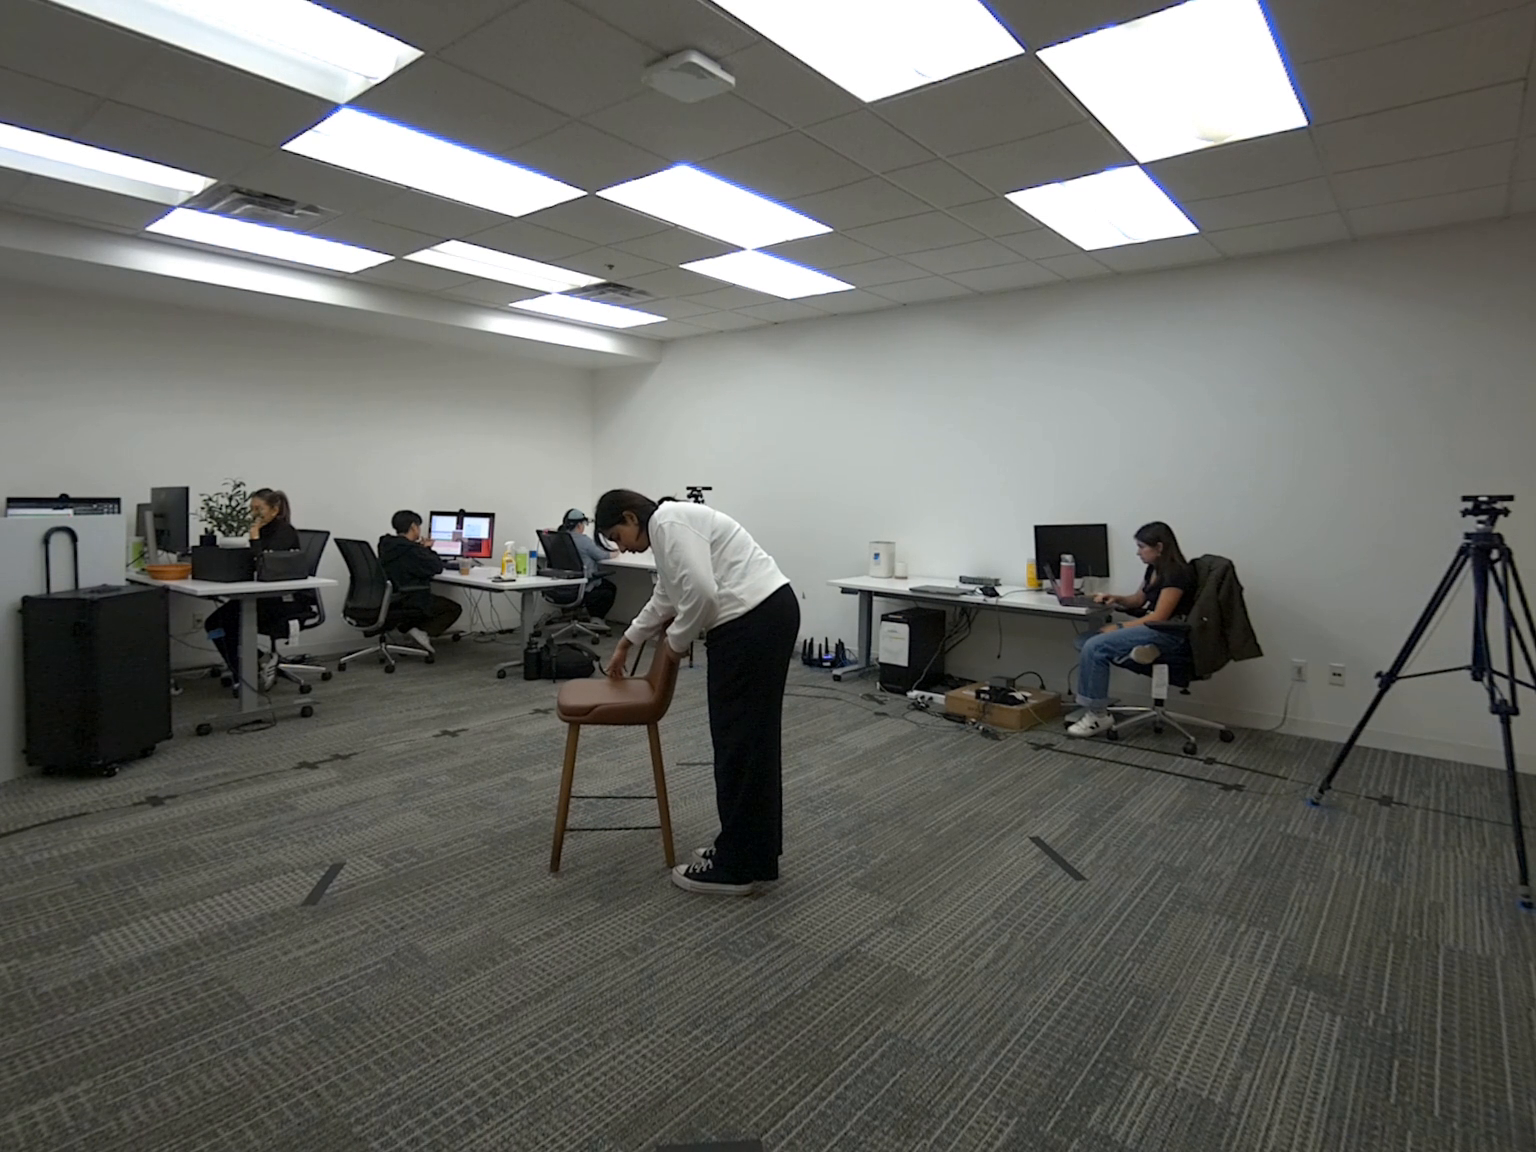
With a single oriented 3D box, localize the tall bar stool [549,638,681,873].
[{"bbox_3d":[-0.582,0.612,3.256,0.463,0.888,0.462,2,2,-10],"label":"tall bar stool"}]
